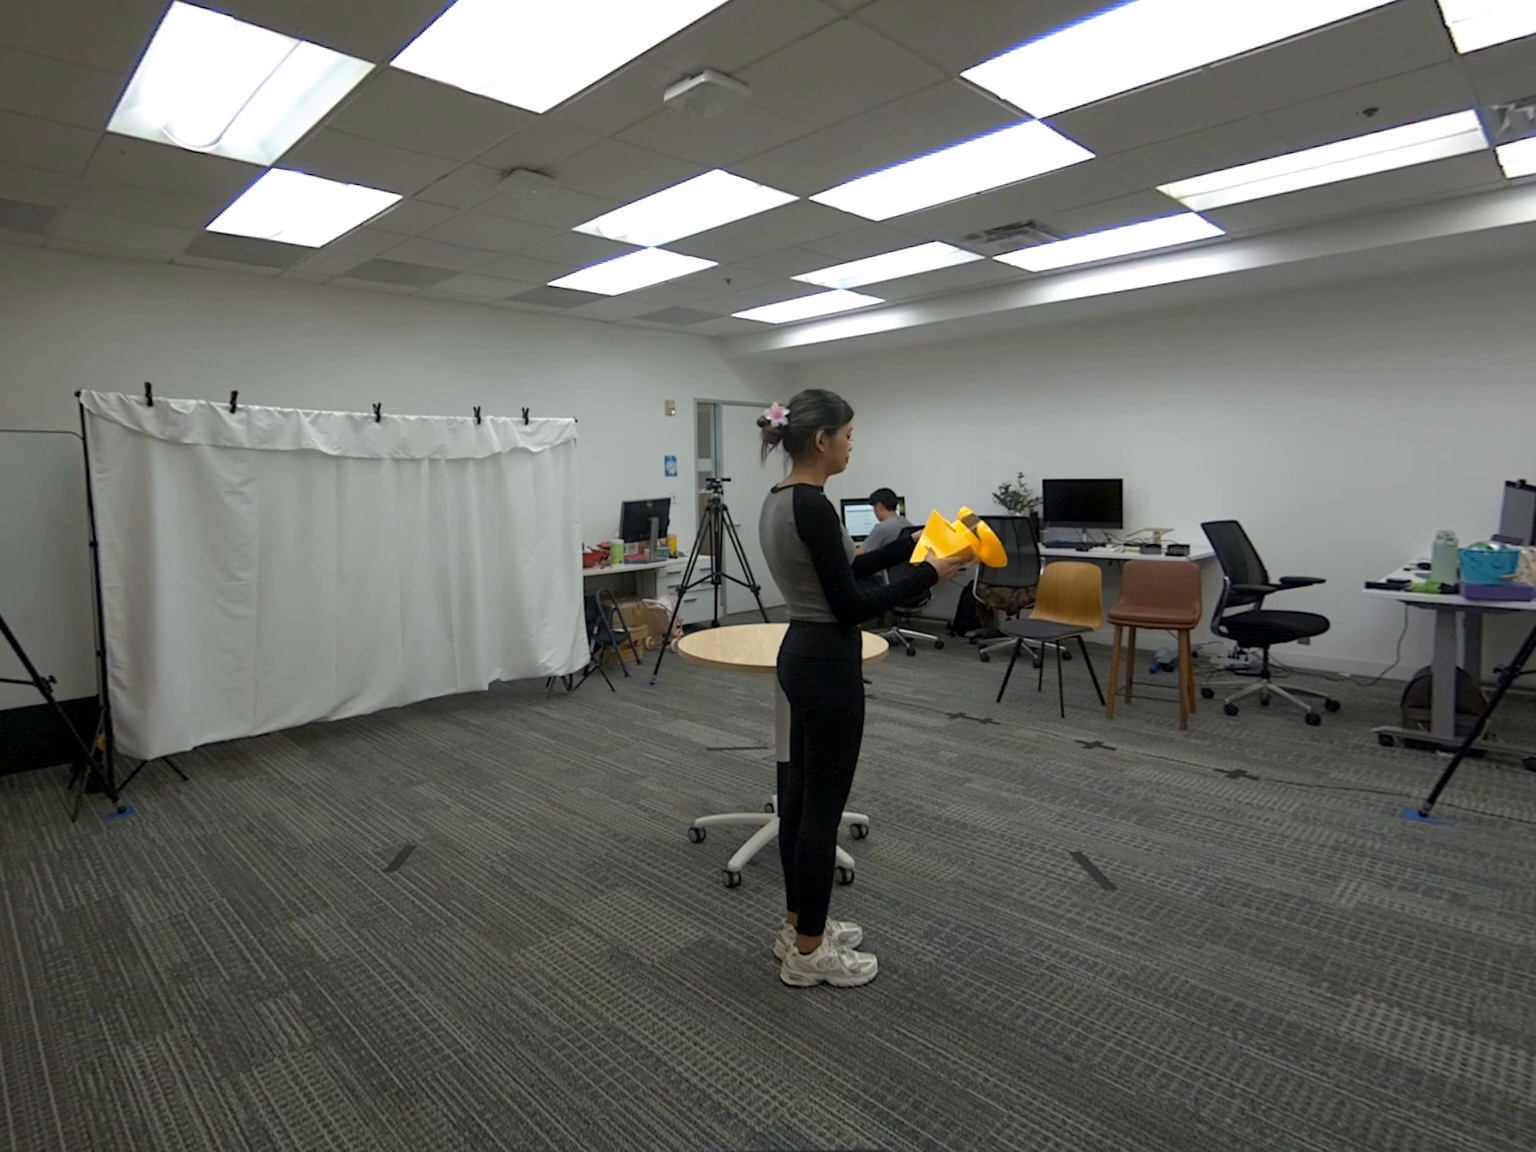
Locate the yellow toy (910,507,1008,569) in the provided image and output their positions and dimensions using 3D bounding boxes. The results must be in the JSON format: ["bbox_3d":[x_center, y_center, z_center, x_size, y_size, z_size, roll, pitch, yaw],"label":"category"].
[{"bbox_3d":[0.530,-0.065,2.467,0.231,0.186,0.212,-35,38,1],"label":"yellow toy"}]
